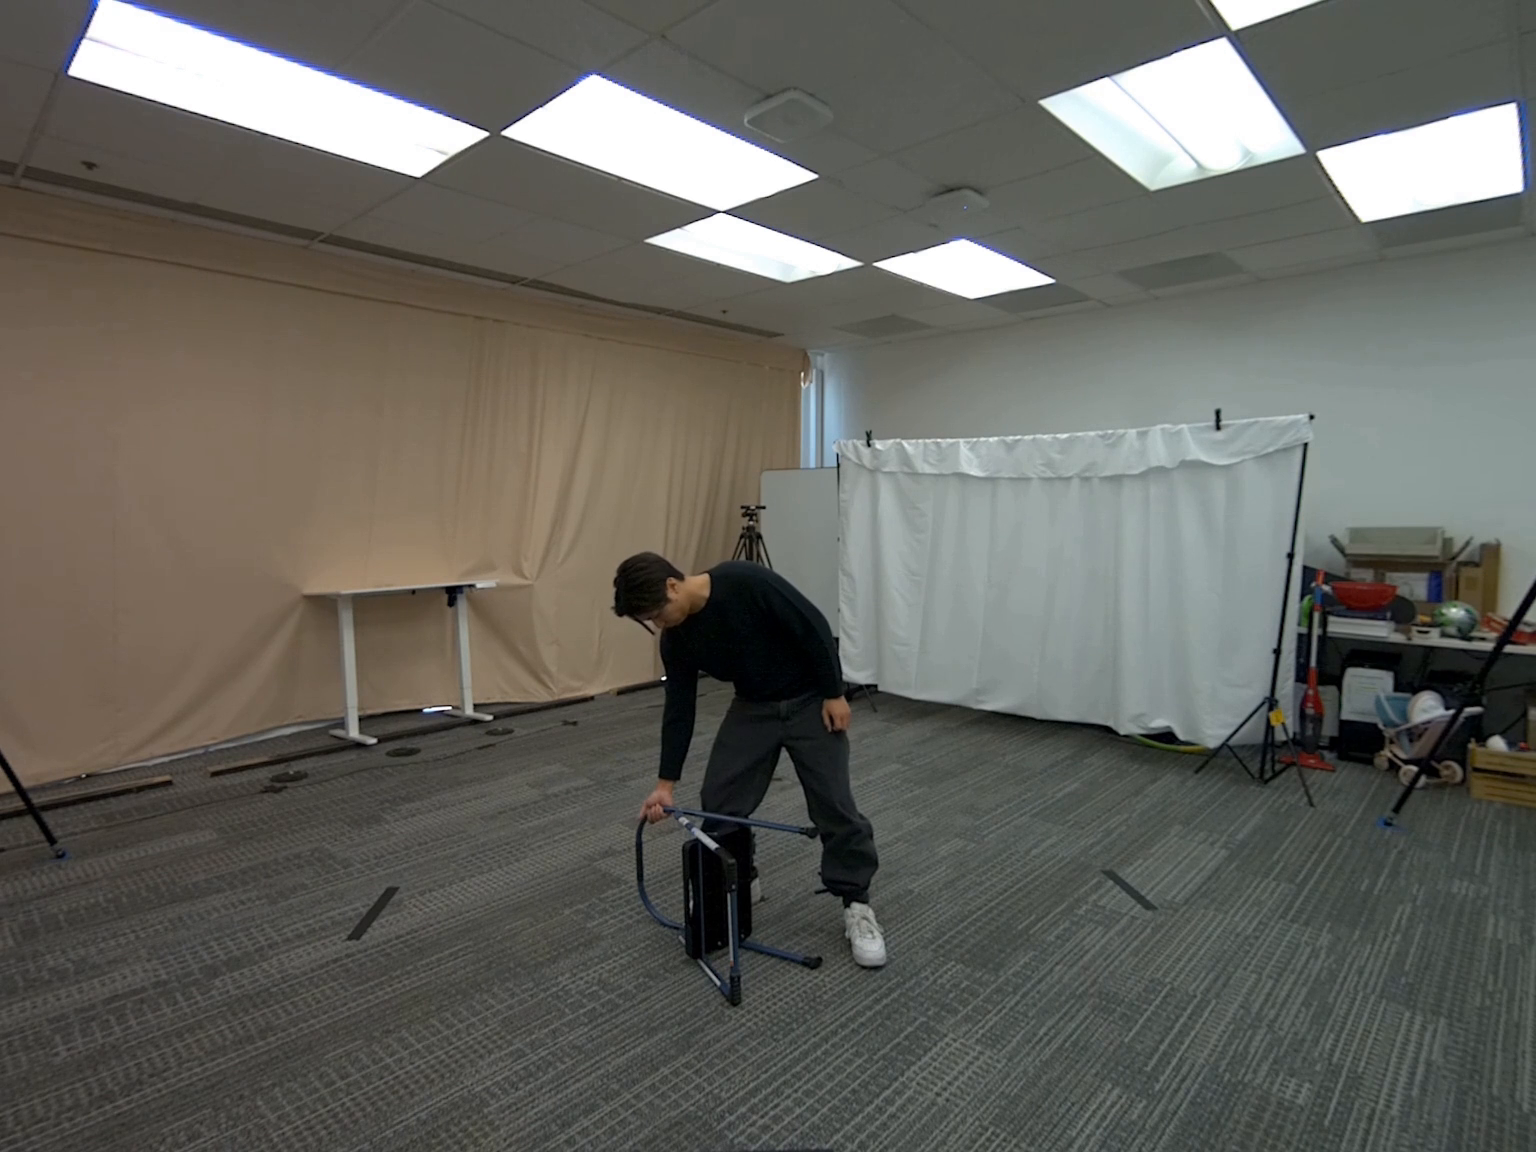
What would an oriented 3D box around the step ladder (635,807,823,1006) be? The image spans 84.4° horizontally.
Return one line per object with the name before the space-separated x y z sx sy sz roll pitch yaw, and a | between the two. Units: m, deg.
step ladder | -0.174 0.964 2.653 0.338 0.430 0.626 -3 3 -42
